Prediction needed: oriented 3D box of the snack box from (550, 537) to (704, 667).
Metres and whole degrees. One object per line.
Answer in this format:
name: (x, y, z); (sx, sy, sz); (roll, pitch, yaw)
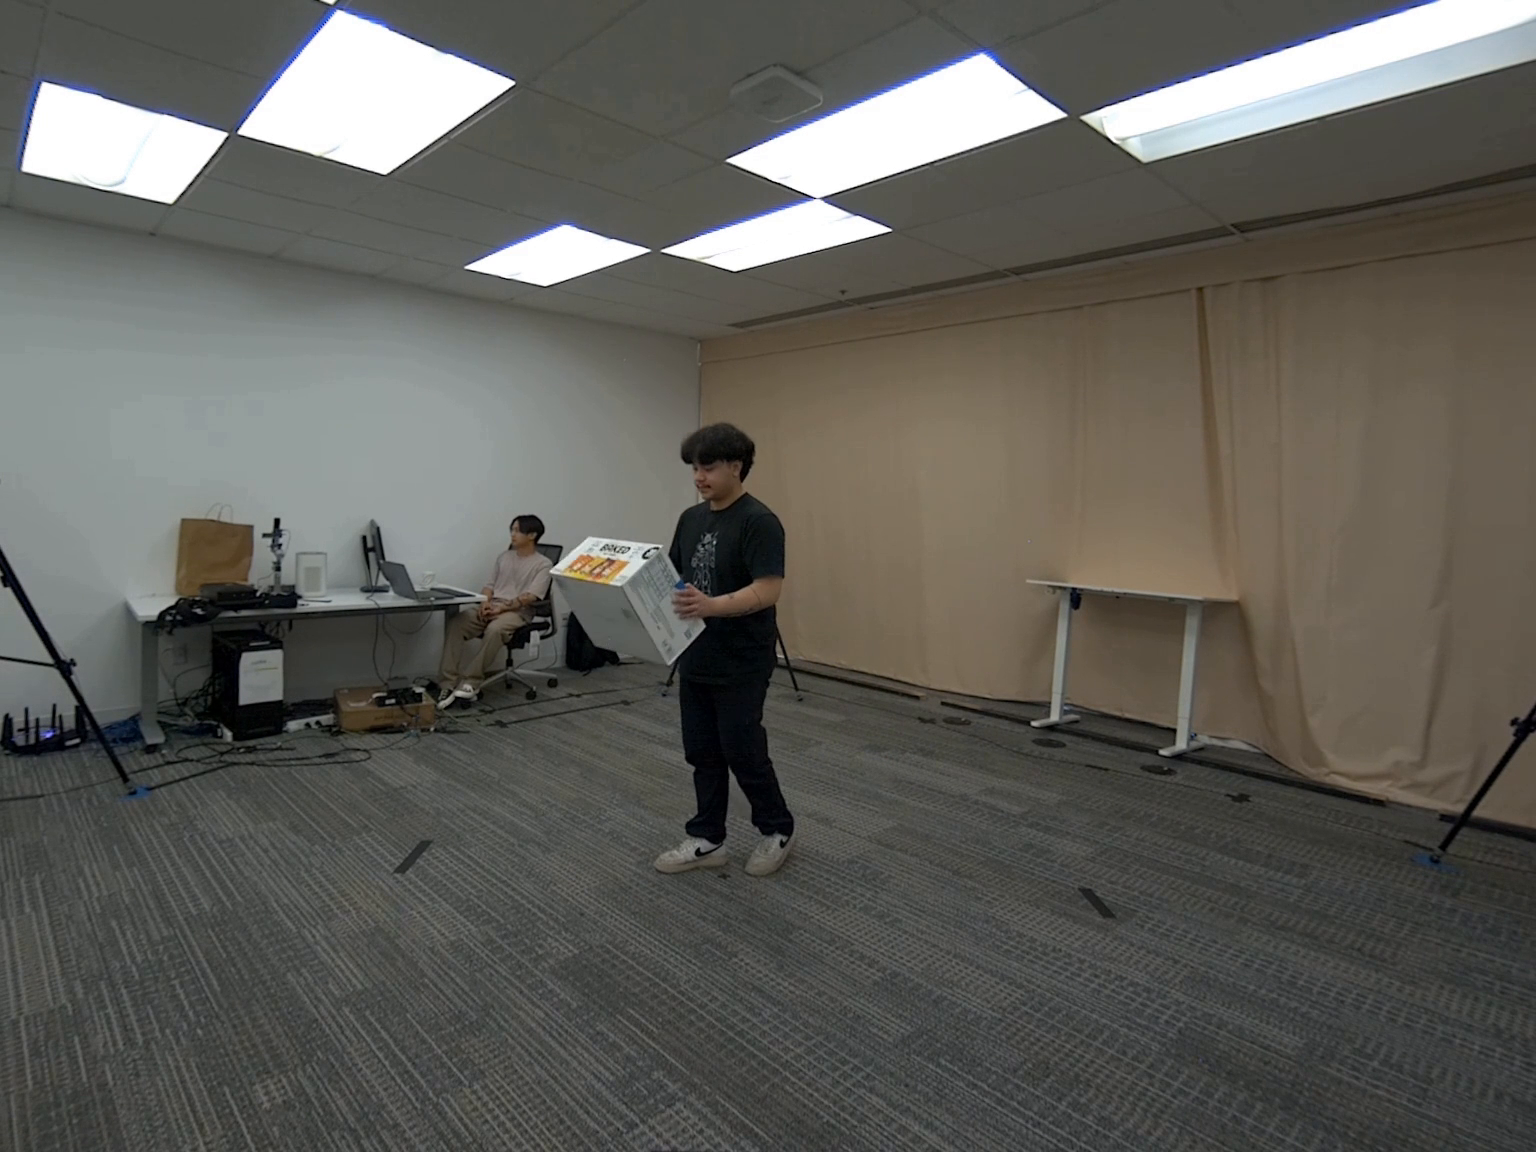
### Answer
snack box: (-0.473, 0.082, 2.816); (0.416, 0.332, 0.205); (7, 43, 44)
